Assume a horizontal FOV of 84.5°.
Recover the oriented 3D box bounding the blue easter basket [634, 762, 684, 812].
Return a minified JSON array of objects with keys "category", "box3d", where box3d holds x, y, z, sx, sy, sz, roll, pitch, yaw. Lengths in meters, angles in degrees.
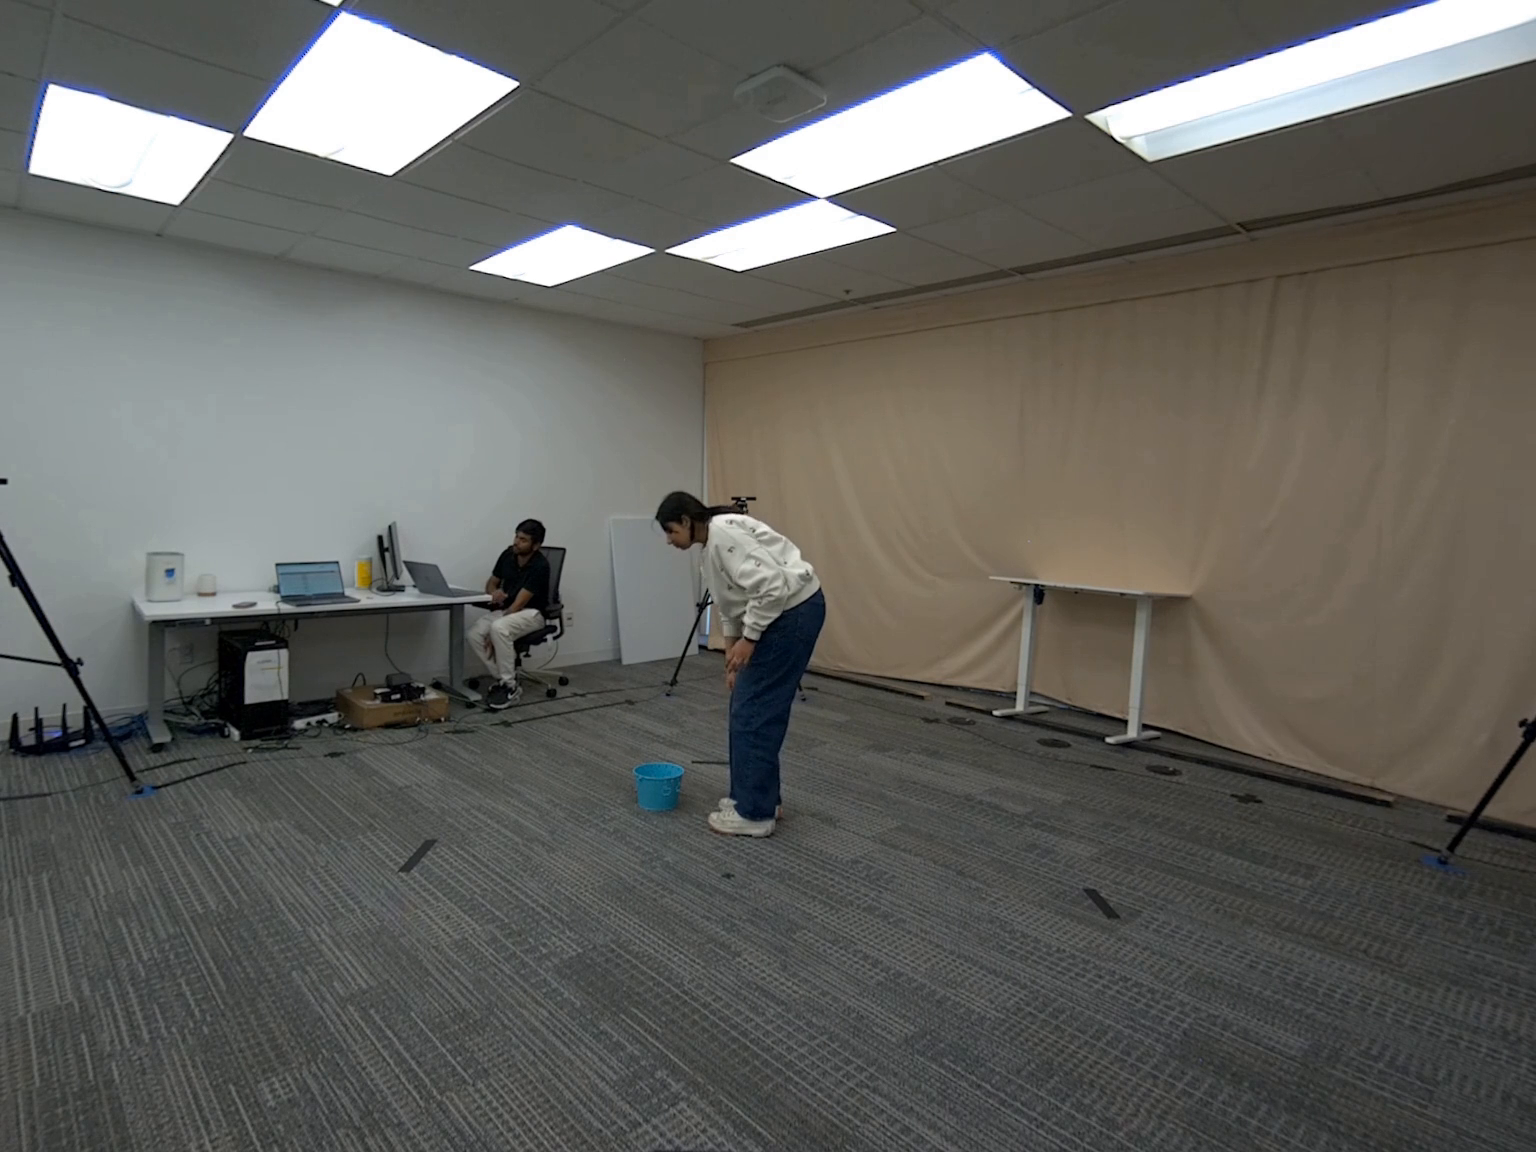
[{"category":"blue easter basket","box3d":[-0.506,0.949,3.834,0.243,0.155,0.244,2,5,-1]}]
